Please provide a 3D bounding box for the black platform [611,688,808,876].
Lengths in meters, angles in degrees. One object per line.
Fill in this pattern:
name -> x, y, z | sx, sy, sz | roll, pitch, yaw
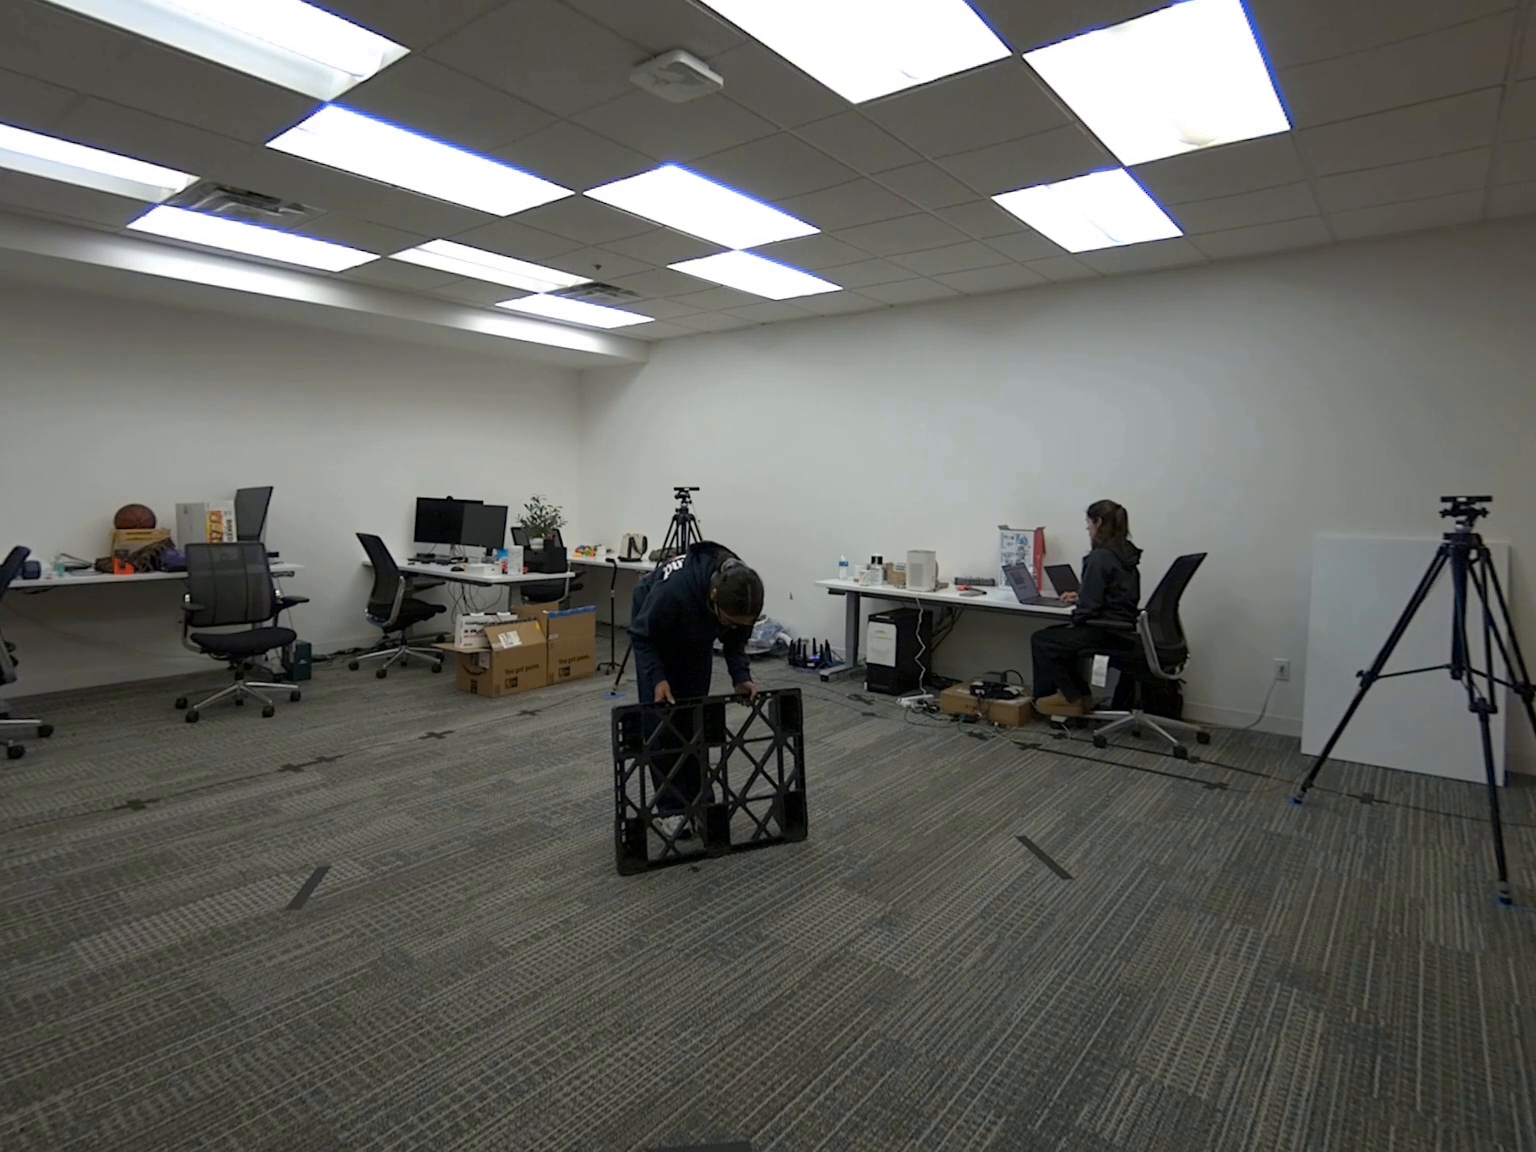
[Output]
black platform -> -0.235, 0.759, 3.279 | 0.785, 0.607, 0.146 | -1, -4, -27
